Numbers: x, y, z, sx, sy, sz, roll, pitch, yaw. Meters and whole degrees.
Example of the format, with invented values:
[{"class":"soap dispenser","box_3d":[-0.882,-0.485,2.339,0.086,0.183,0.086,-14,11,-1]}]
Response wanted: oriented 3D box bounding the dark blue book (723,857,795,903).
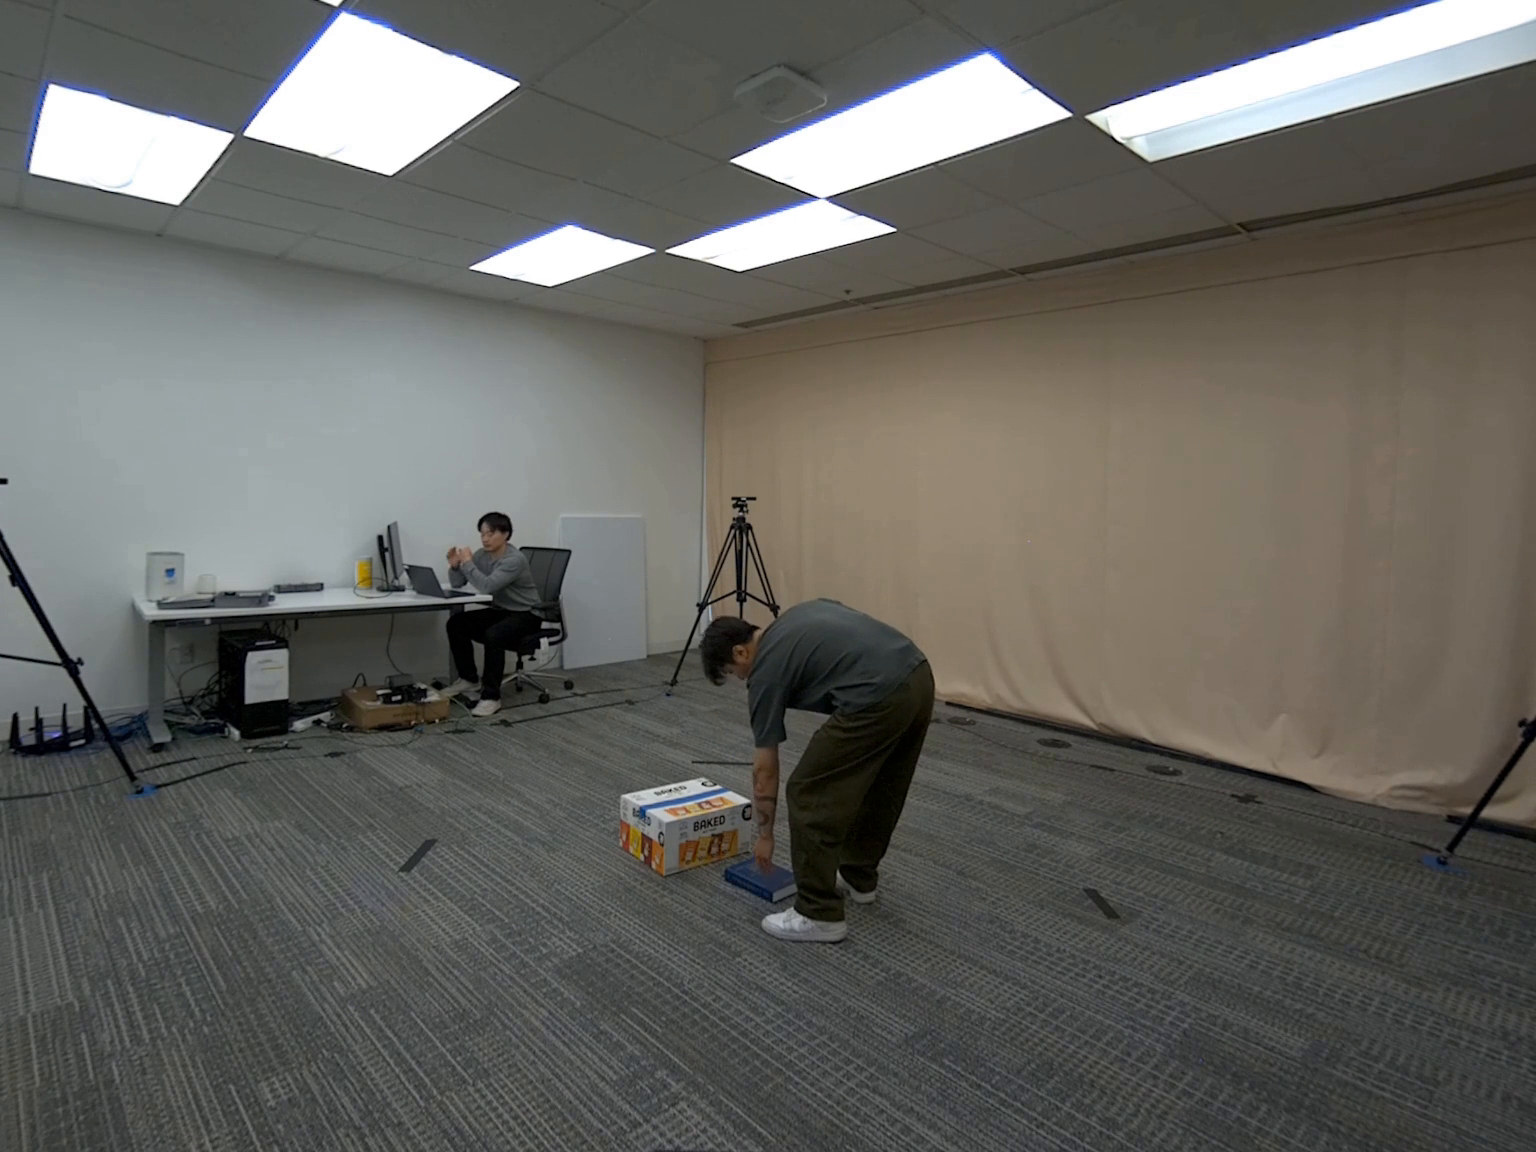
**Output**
[{"class":"dark blue book","box_3d":[-0.021,1.090,3.027,0.160,0.045,0.251,-4,7,-44]}]
